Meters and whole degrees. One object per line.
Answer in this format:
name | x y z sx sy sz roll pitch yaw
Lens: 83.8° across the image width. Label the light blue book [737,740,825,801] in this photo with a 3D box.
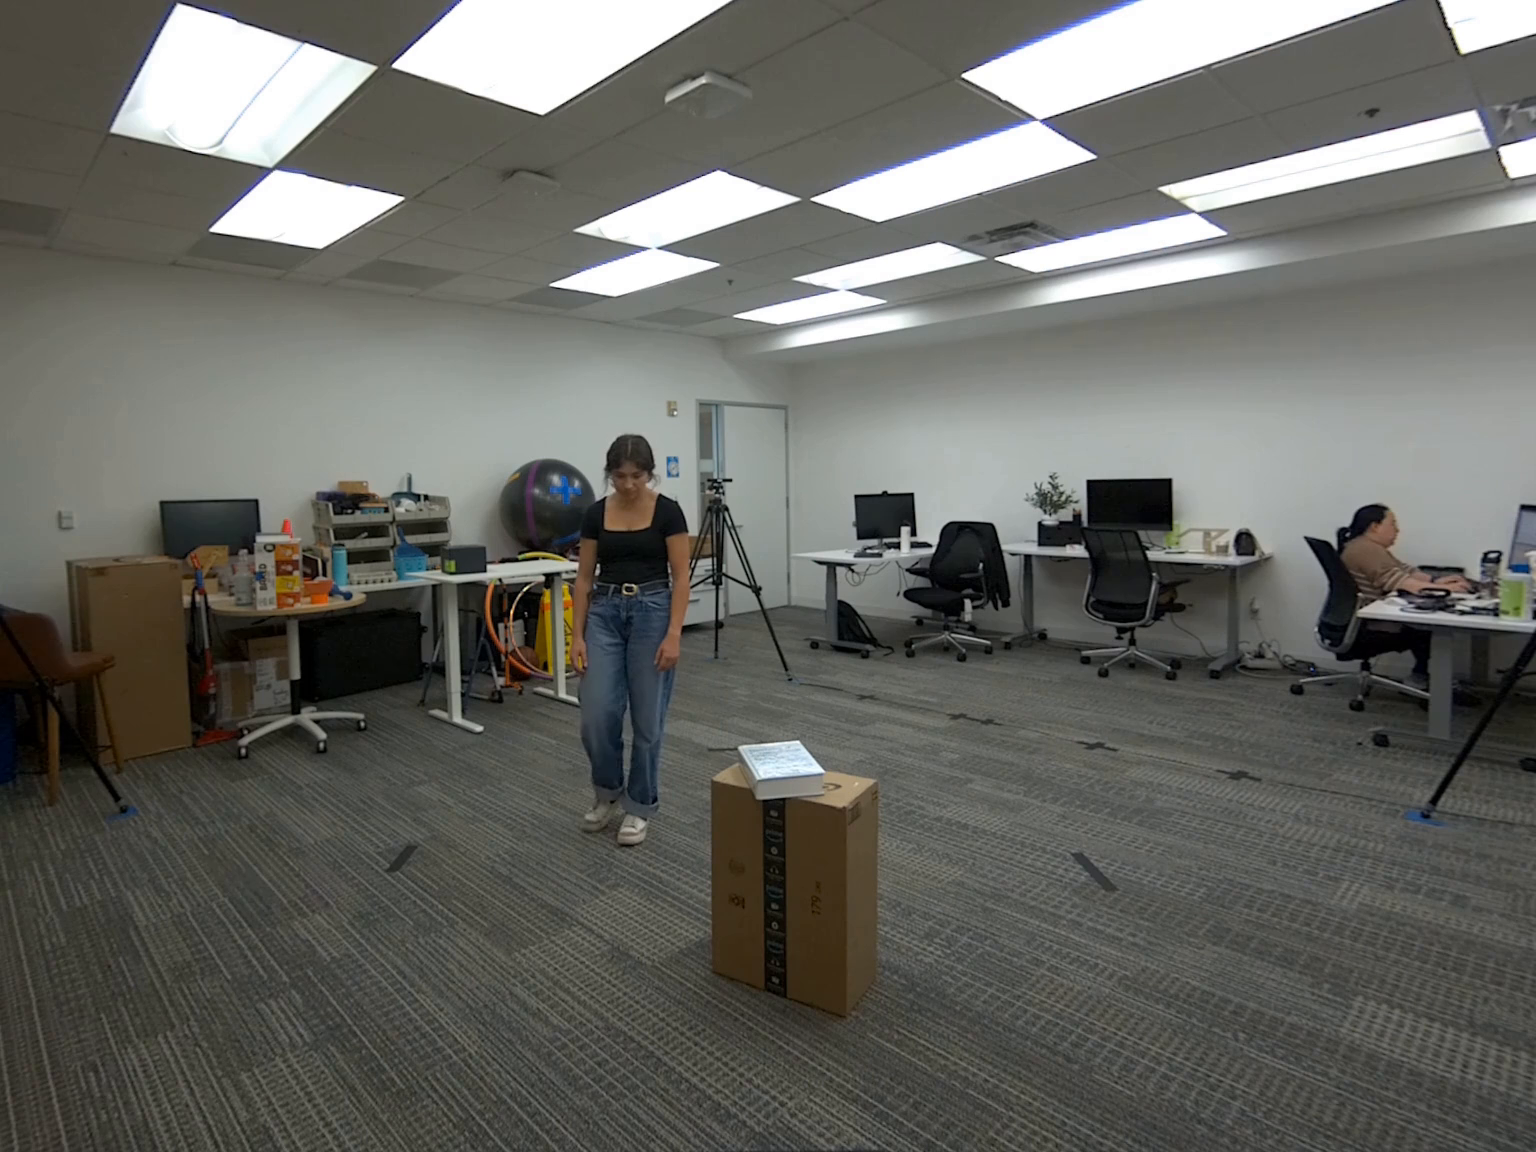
light blue book | 0.036 0.540 2.363 0.189 0.059 0.265 -3 7 -12
